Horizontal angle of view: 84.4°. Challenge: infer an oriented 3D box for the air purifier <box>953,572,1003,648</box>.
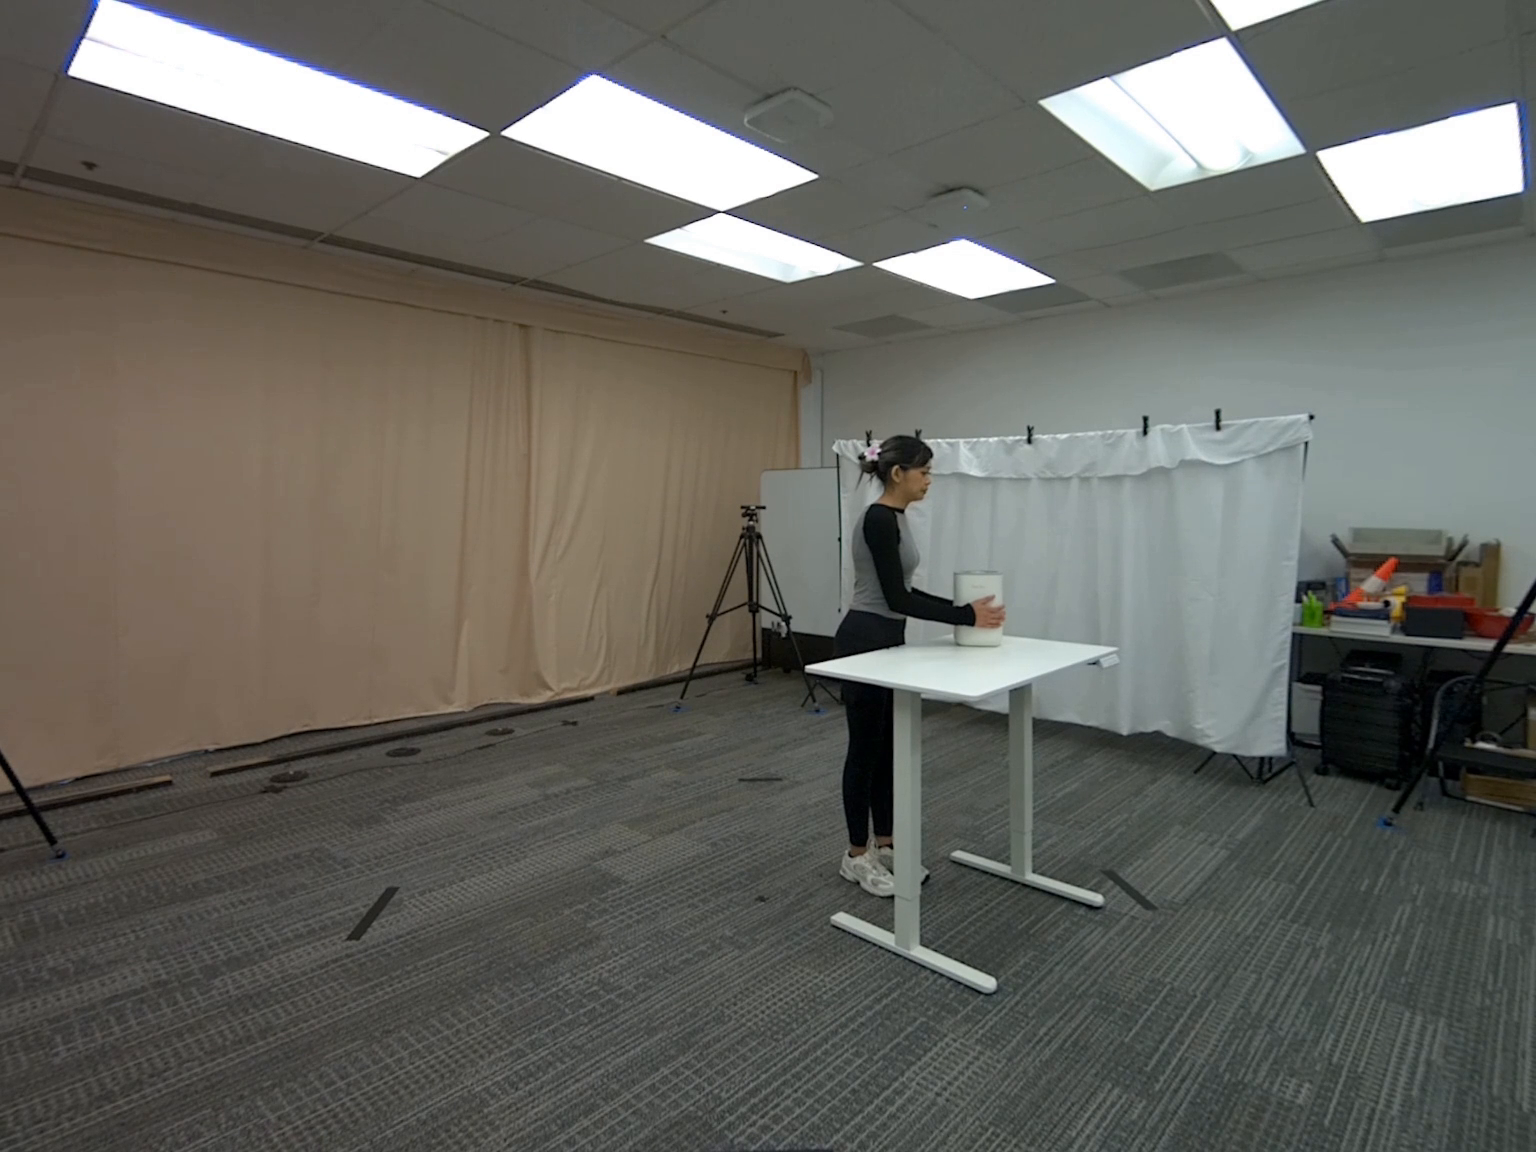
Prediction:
[{"bbox_3d":[0.779,0.121,3.069,0.173,0.265,0.169,-1,3,12],"label":"air purifier"}]
